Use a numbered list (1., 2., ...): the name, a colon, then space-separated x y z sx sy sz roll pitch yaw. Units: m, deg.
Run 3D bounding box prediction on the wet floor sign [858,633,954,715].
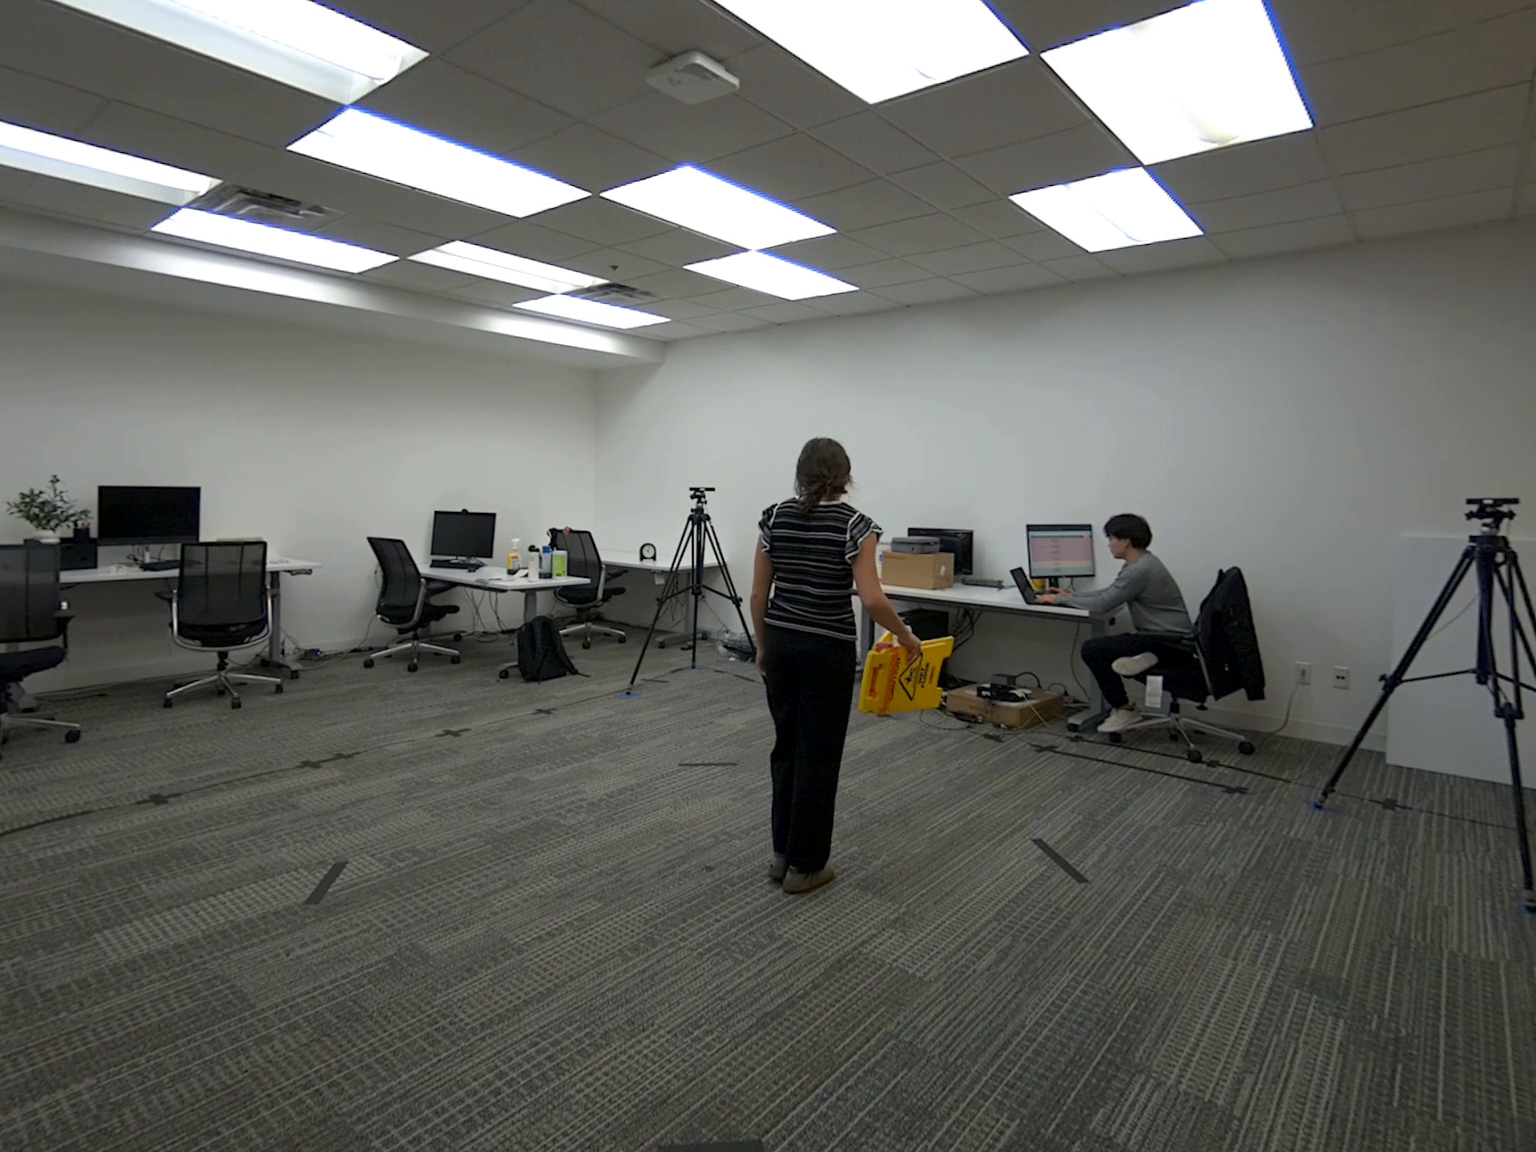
1. wet floor sign: 0.440 0.354 3.057 0.298 0.282 0.629 11 3 24
